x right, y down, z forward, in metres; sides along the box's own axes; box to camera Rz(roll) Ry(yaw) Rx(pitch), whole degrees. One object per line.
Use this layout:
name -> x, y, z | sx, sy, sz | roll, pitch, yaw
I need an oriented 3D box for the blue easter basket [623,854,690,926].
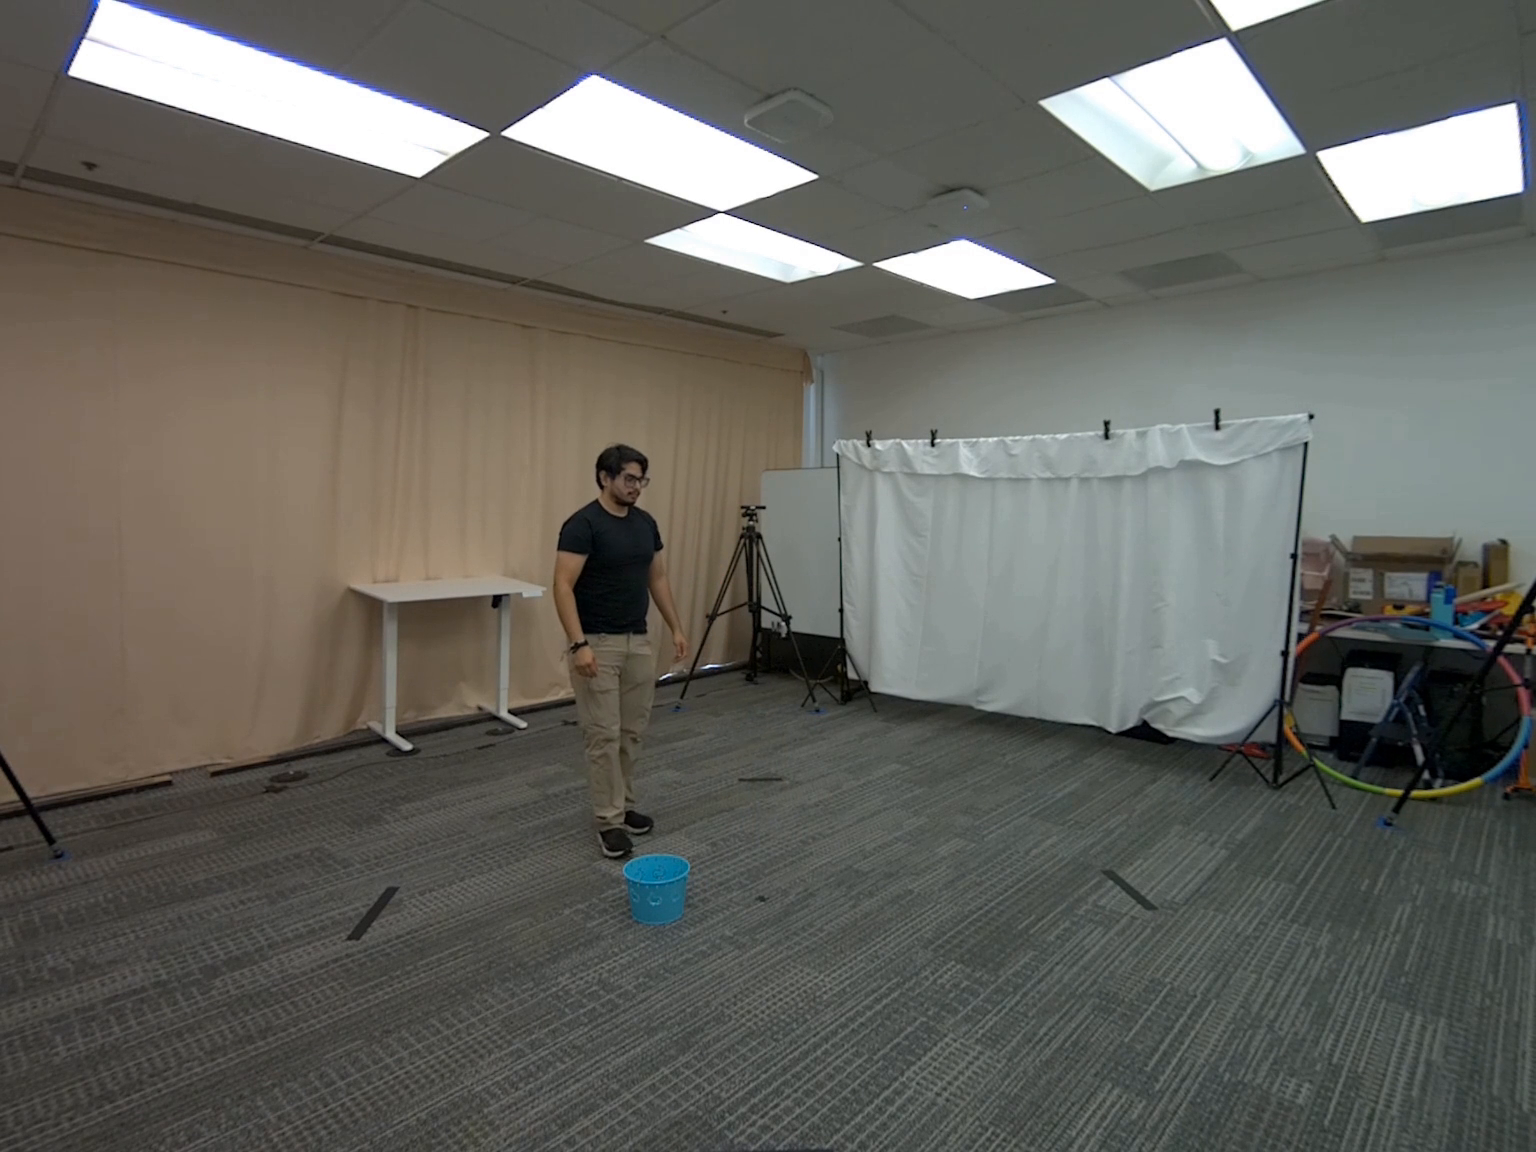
blue easter basket -> -0.378, 1.079, 2.892 | 0.243, 0.155, 0.244 | -1, 4, -2
